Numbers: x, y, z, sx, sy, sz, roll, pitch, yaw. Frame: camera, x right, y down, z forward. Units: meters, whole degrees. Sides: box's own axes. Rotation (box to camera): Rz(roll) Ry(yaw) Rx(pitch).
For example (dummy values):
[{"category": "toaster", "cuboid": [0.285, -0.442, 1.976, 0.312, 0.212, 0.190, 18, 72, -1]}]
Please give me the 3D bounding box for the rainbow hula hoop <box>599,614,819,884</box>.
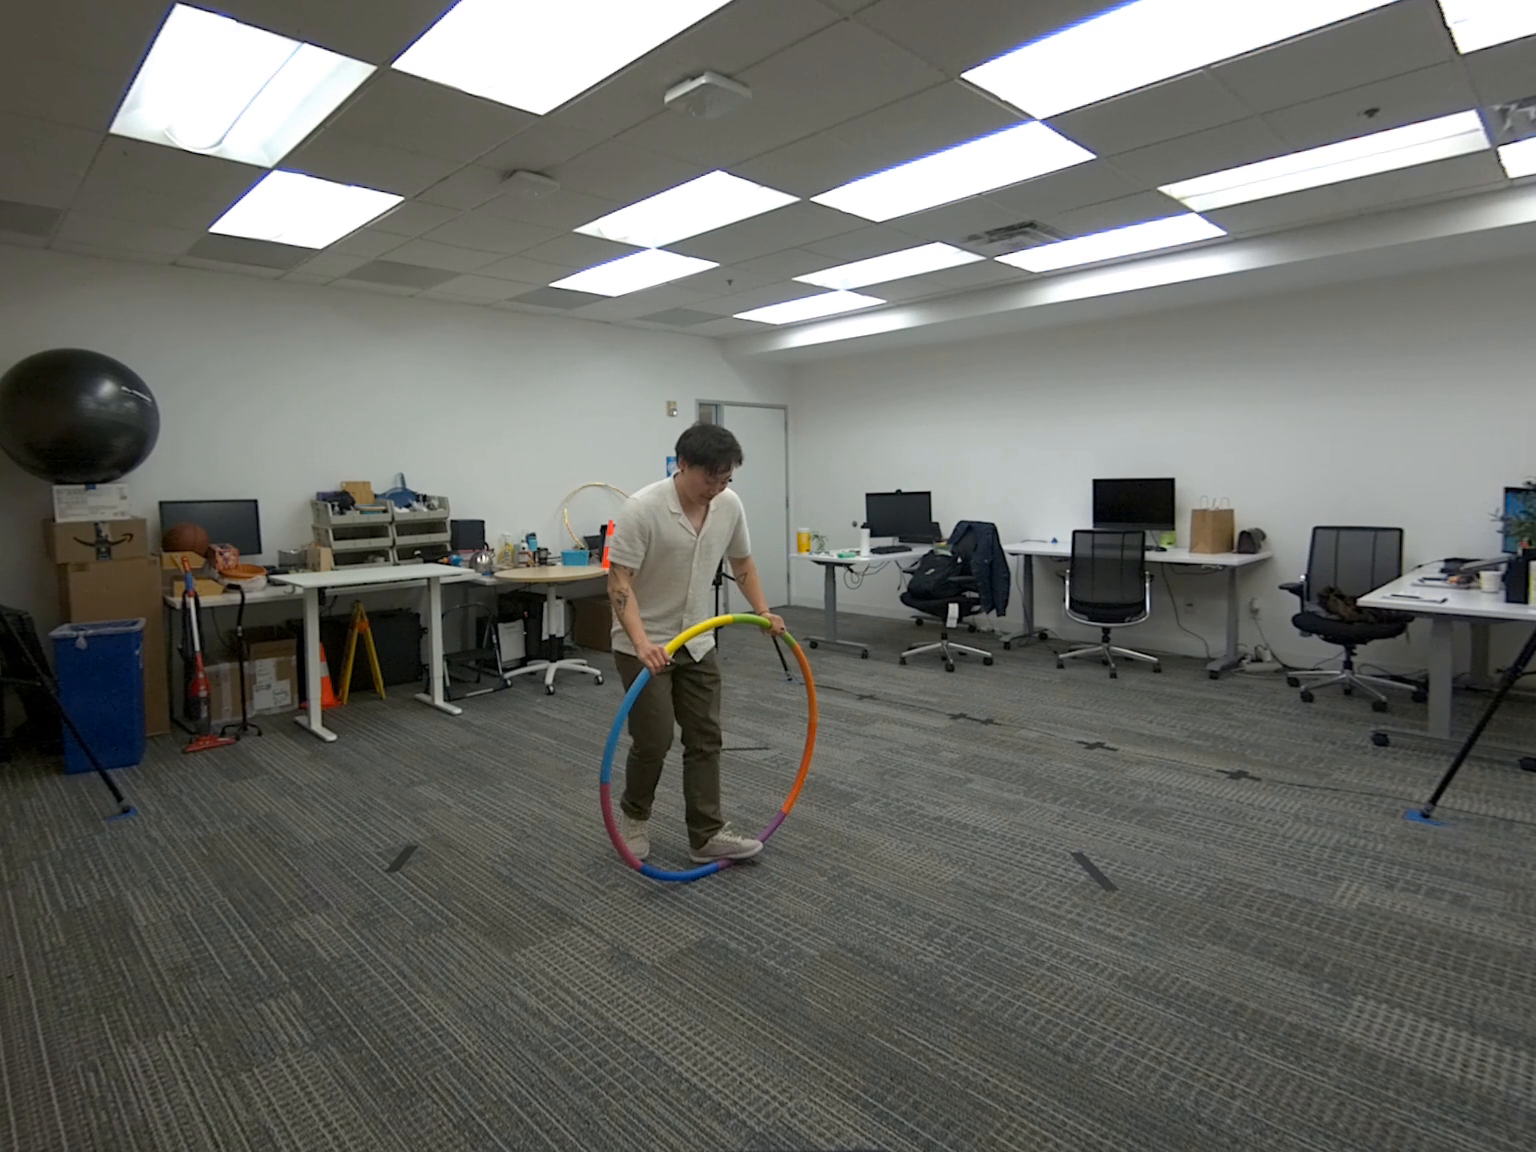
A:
[{"category": "rainbow hula hoop", "cuboid": [-0.163, 0.604, 3.001, 0.037, 0.972, 0.953, 10, 11, 43]}]
